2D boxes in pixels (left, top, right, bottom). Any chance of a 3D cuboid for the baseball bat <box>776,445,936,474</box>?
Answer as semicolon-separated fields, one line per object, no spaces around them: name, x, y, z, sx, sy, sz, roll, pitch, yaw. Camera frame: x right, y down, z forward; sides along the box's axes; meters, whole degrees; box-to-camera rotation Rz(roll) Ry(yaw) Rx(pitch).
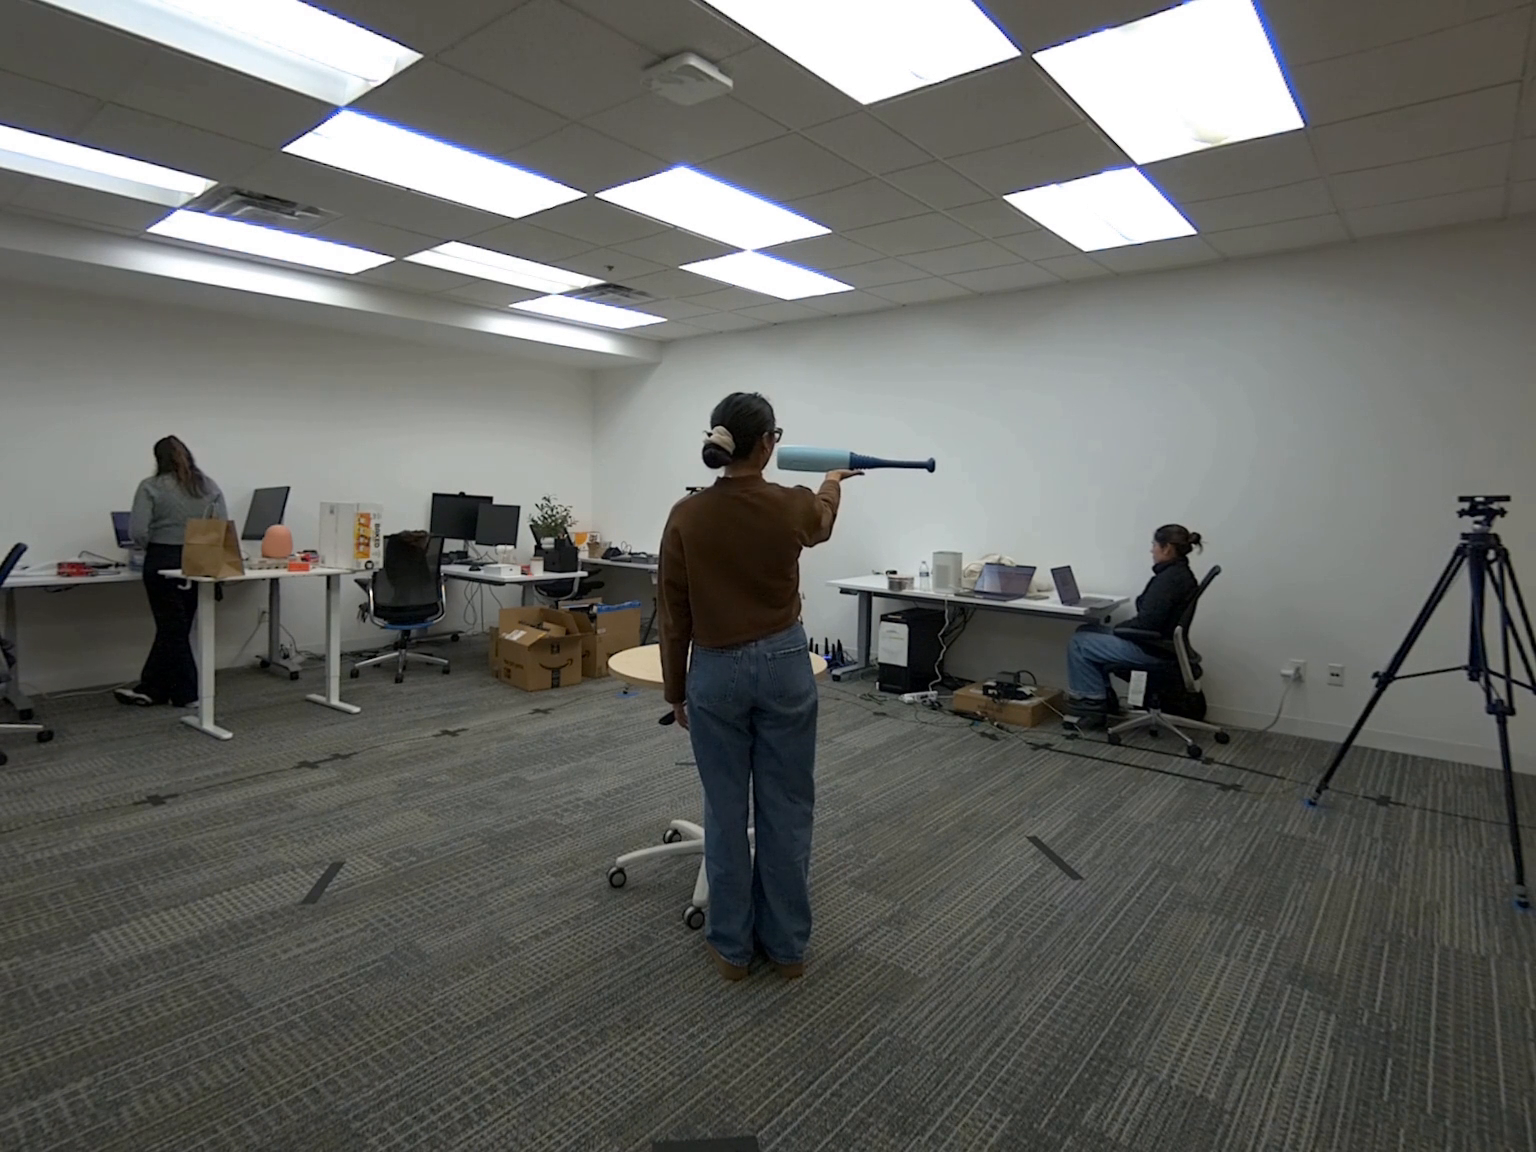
baseball bat;0.297;-0.395;2.937;0.547;0.089;0.089;4;4;6
